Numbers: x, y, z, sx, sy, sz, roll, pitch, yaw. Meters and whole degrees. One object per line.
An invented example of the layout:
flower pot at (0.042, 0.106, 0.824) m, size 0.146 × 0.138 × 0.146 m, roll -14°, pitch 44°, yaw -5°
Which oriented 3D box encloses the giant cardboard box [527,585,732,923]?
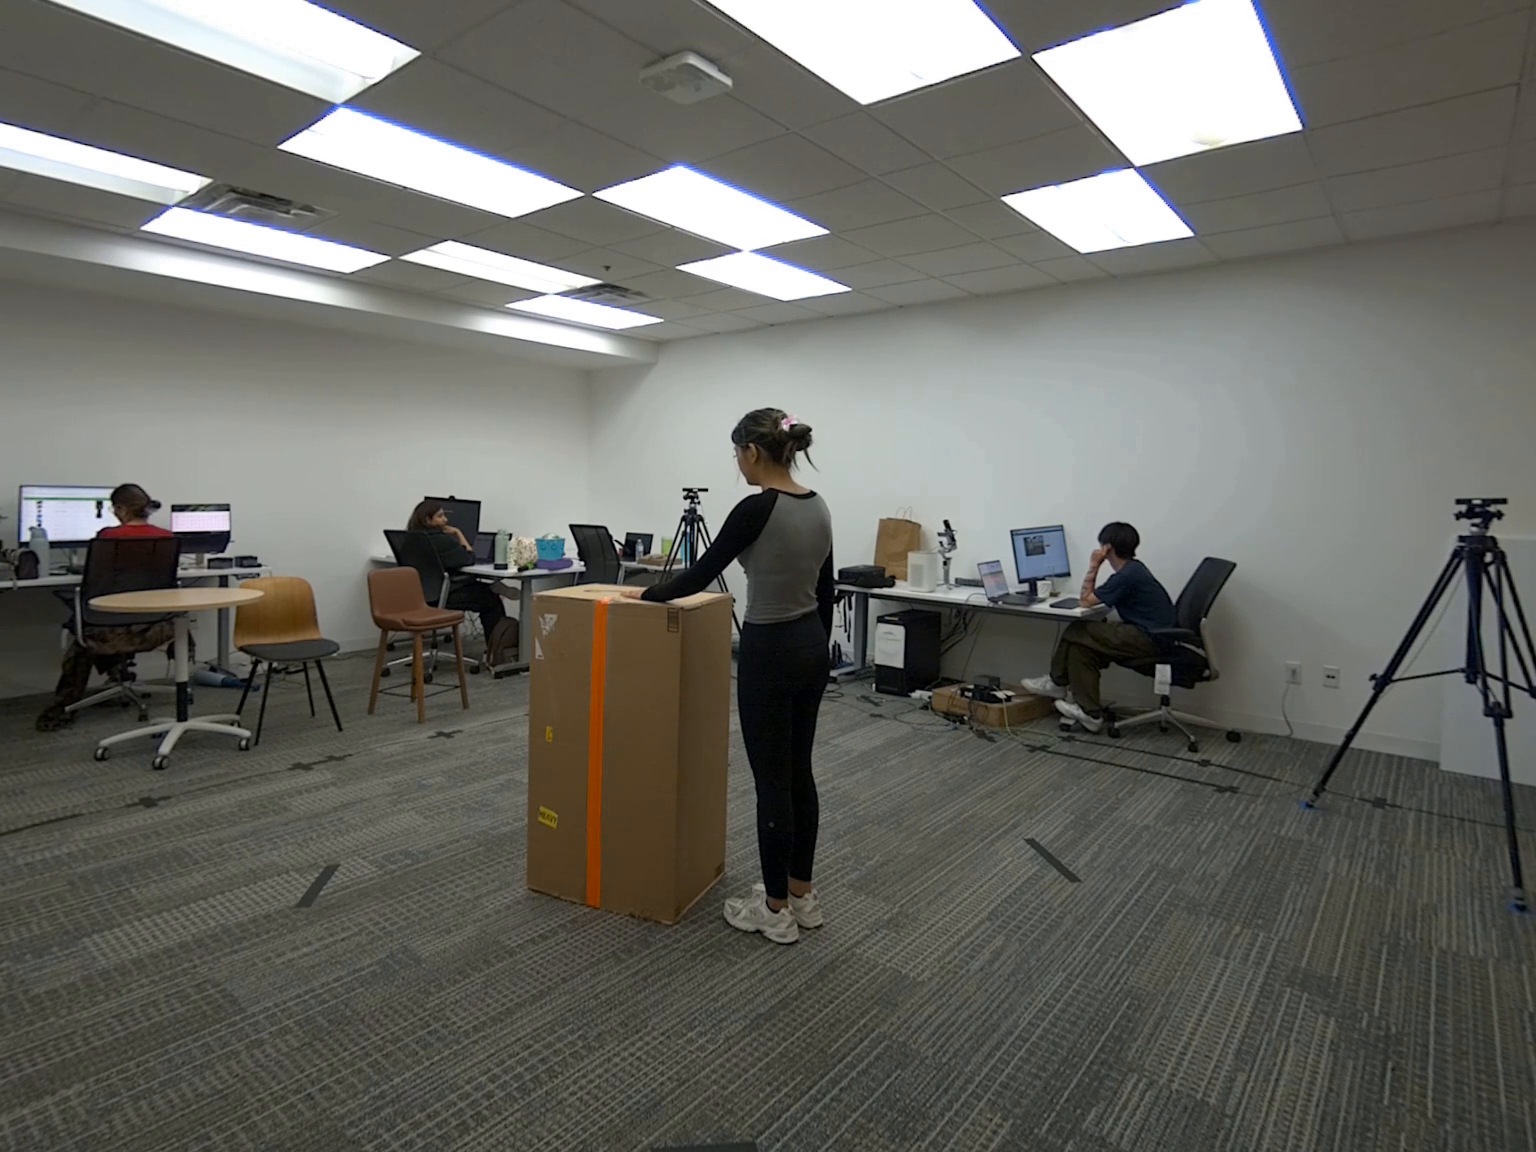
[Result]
giant cardboard box at (-0.494, 0.572, 2.978) m, size 0.598 × 1.025 × 0.437 m, roll 3°, pitch 2°, yaw 22°
